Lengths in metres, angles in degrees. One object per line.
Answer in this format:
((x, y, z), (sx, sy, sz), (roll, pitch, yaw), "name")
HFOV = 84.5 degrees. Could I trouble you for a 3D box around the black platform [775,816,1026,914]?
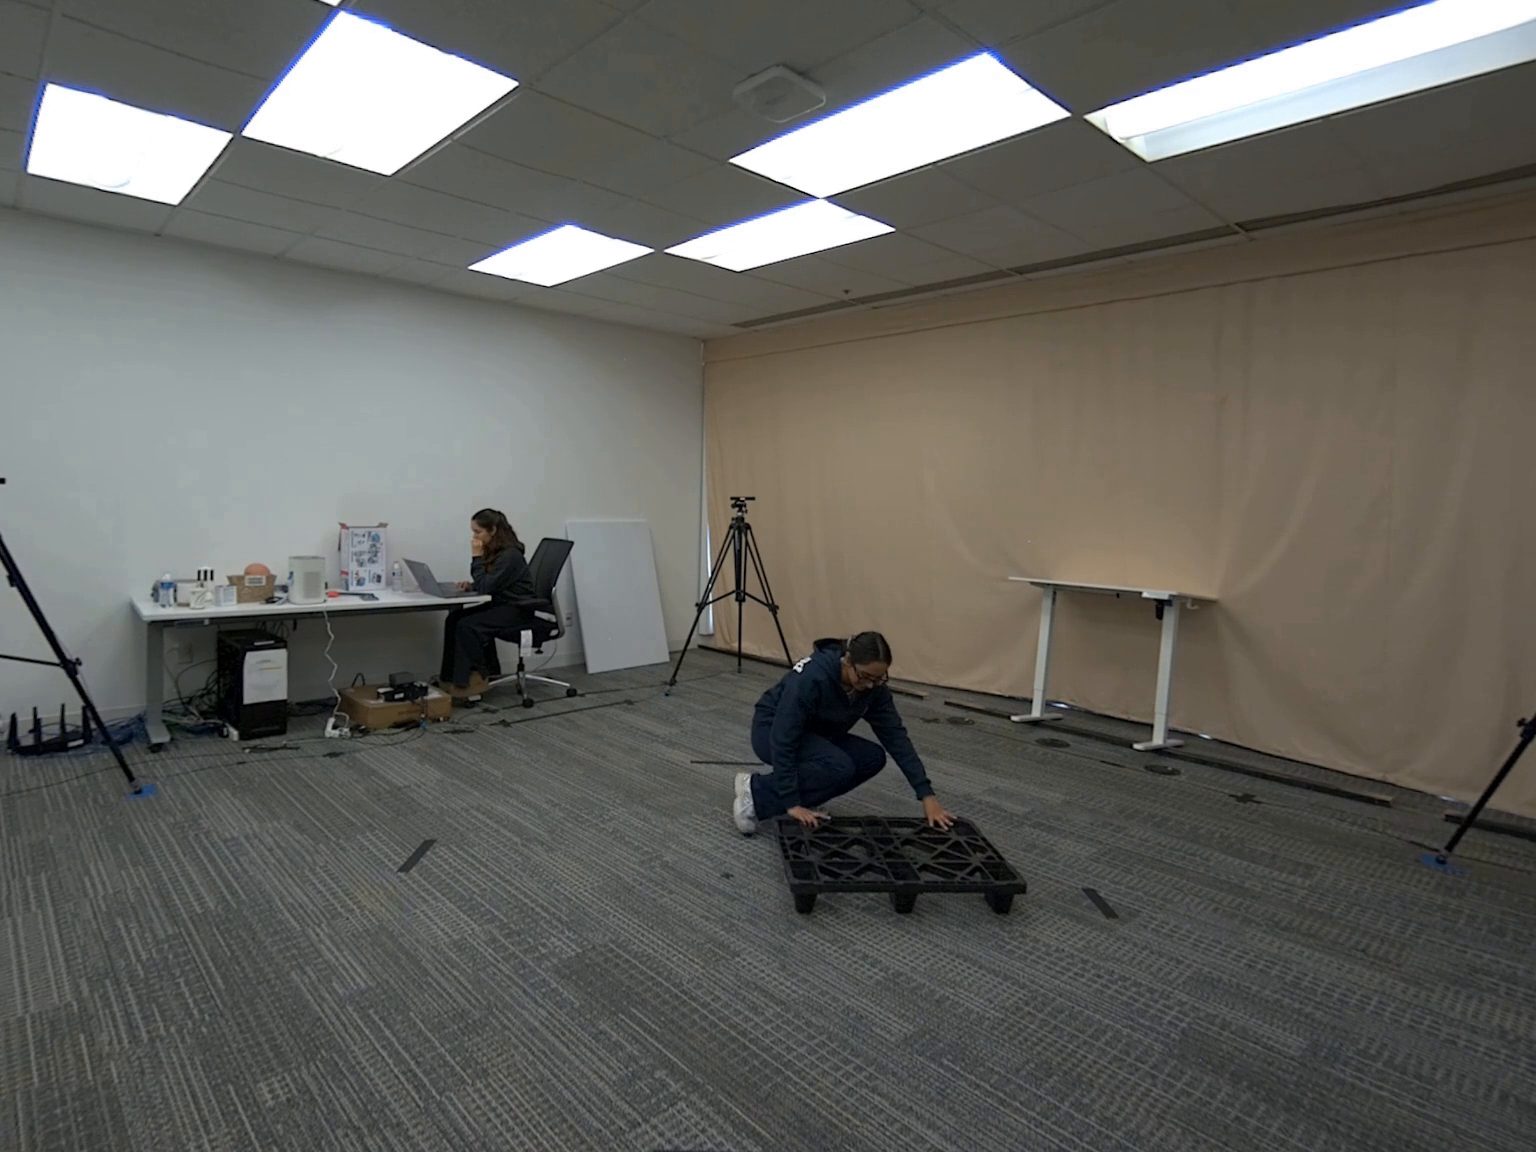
((0.424, 1.054, 3.088), (0.803, 0.143, 0.609), (1, 4, -4), "black platform")
